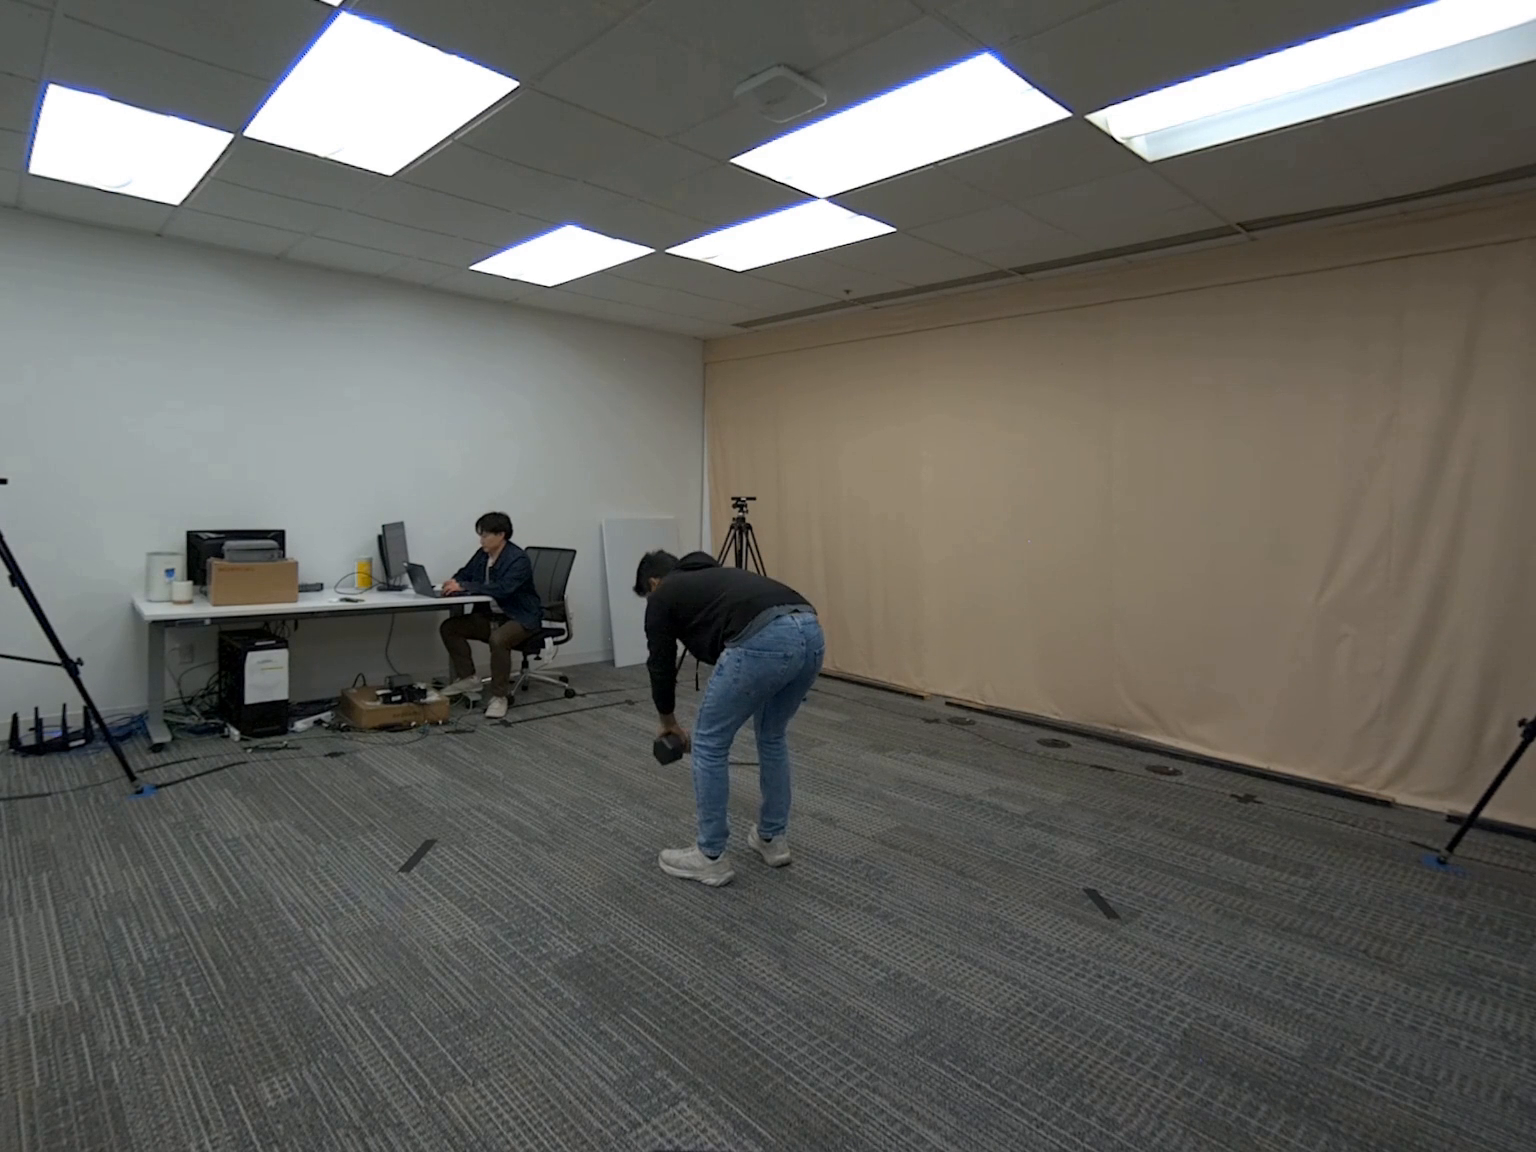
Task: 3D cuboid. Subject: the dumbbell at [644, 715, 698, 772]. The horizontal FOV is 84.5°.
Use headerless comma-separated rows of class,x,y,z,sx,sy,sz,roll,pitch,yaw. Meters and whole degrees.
dumbbell,-0.341,0.669,3.439,0.126,0.108,0.288,44,30,24
